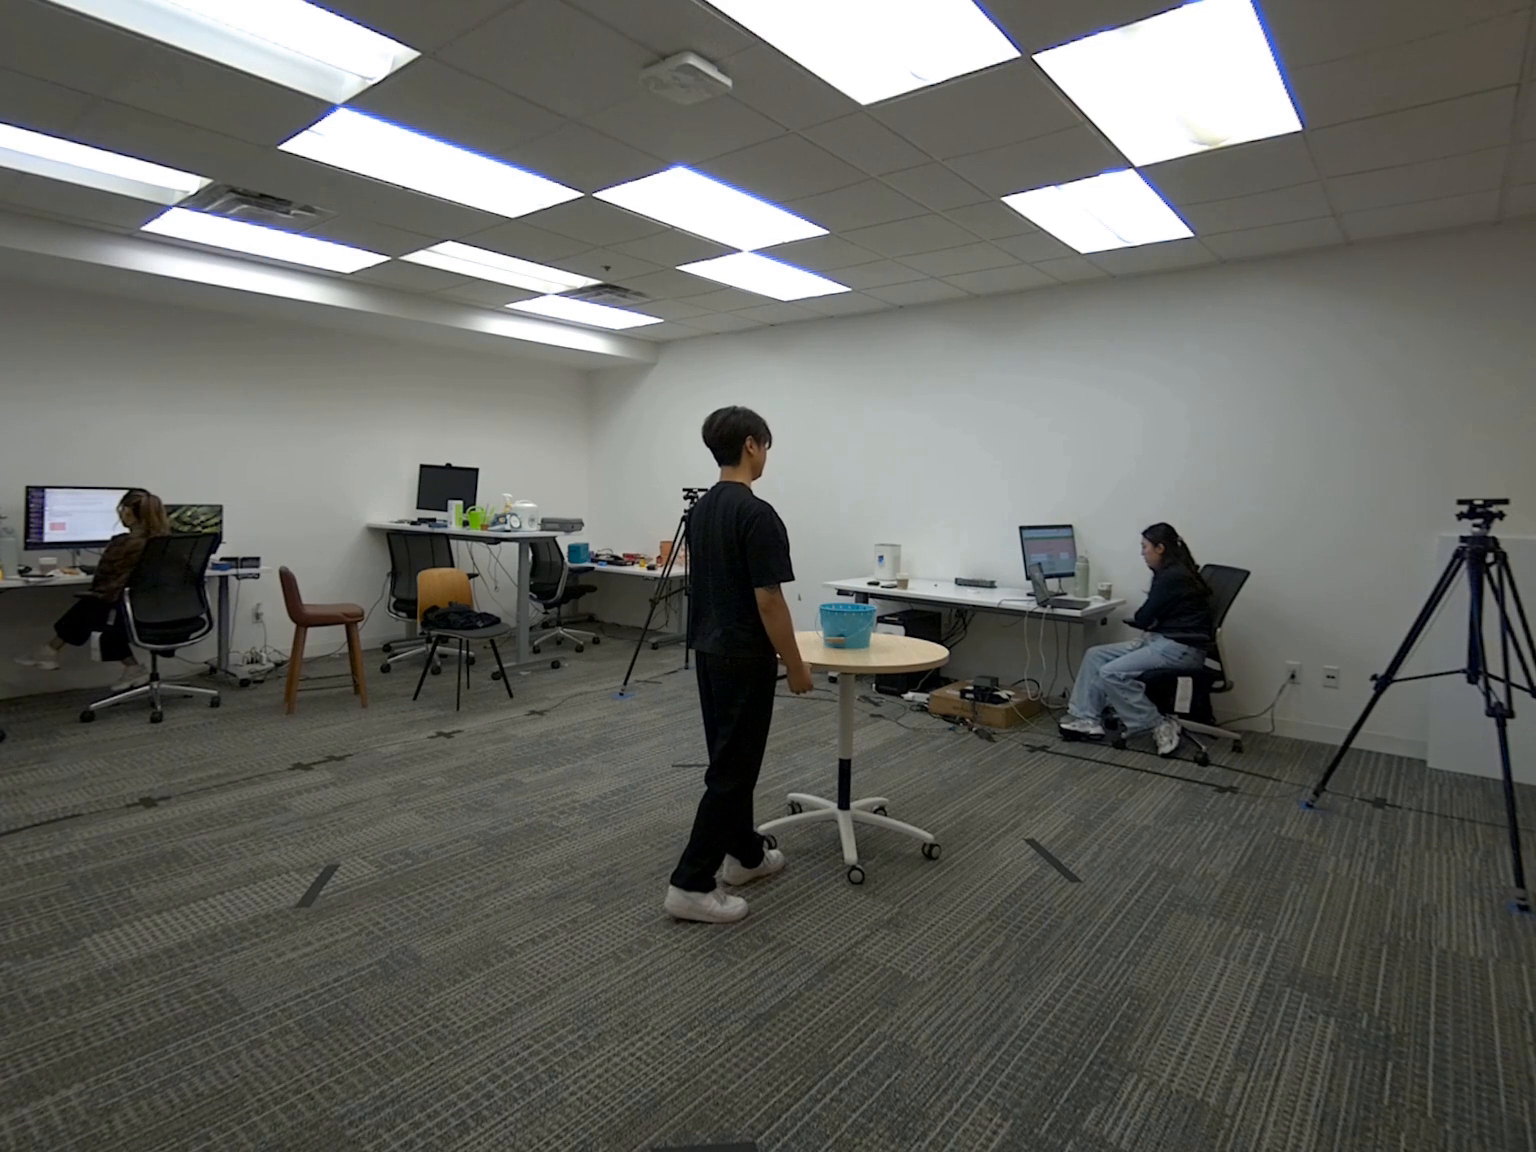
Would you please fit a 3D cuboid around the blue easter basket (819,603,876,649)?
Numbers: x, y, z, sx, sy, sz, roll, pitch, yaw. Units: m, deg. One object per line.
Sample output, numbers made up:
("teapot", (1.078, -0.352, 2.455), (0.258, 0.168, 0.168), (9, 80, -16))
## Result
("blue easter basket", (0.304, 0.195, 3.376), (0.243, 0.155, 0.245), (1, 5, -2))
